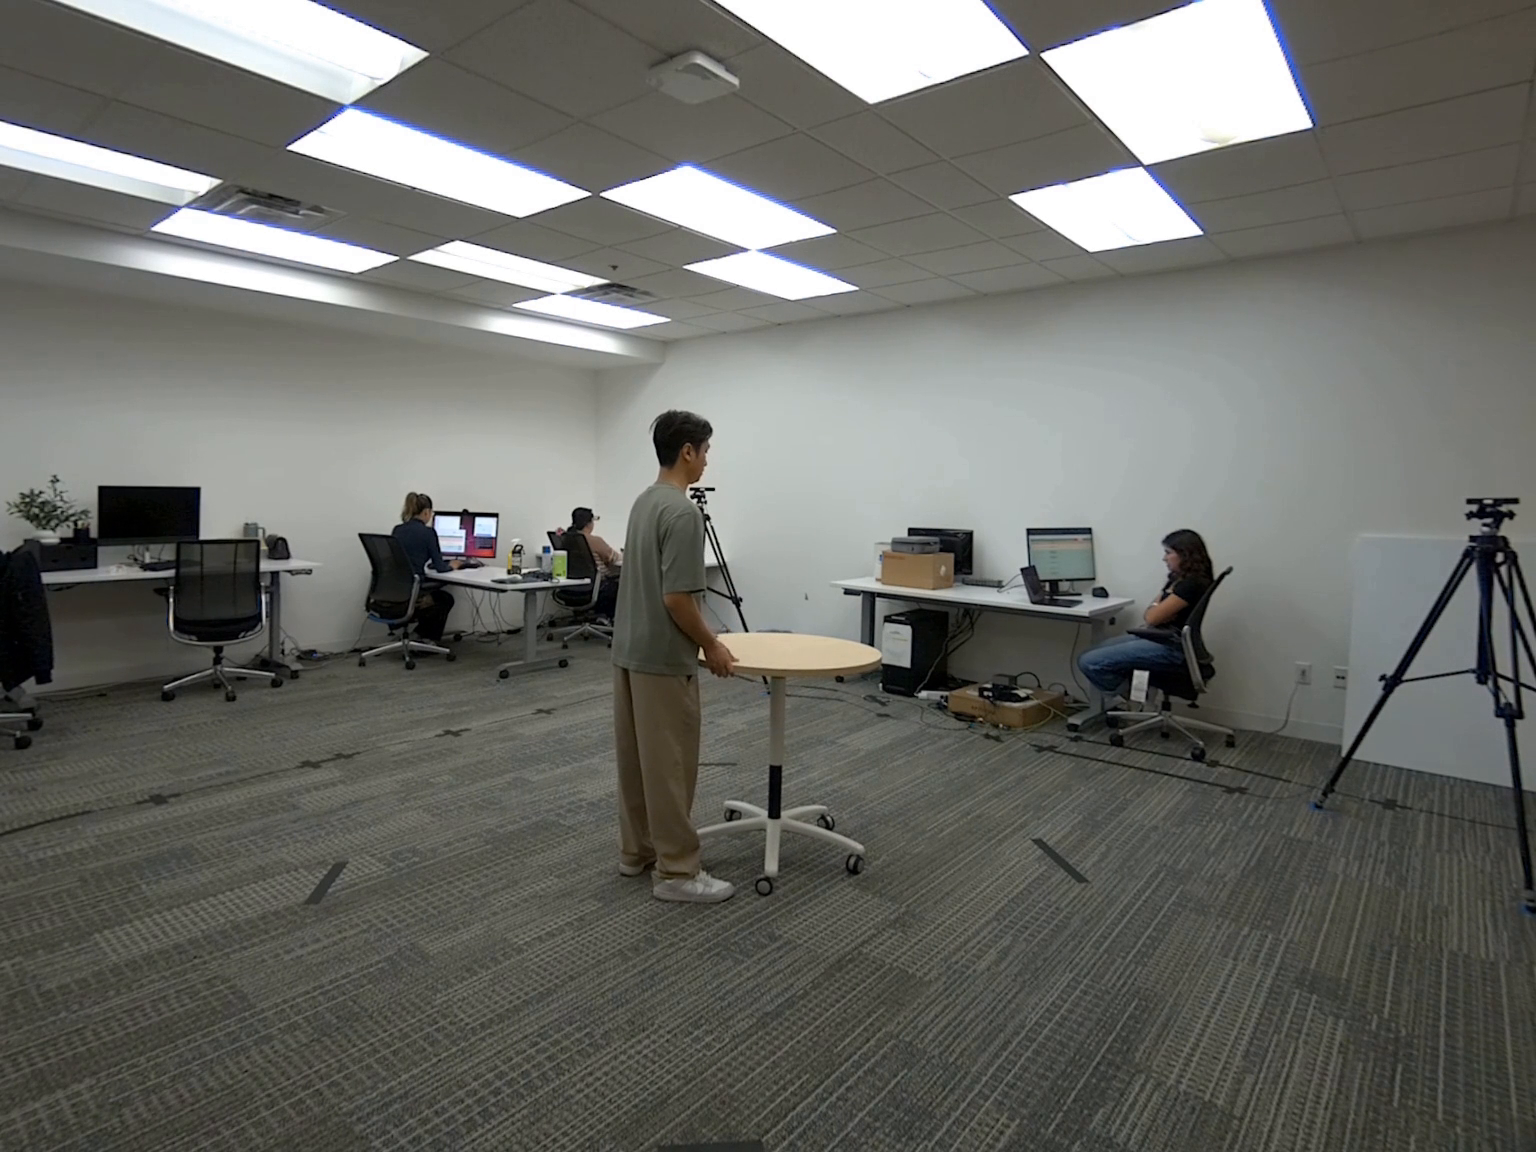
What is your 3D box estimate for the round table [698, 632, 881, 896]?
[{"bbox_3d":[0.021,0.666,3.225,0.784,0.784,0.789,1,4,-2],"label":"round table"}]
